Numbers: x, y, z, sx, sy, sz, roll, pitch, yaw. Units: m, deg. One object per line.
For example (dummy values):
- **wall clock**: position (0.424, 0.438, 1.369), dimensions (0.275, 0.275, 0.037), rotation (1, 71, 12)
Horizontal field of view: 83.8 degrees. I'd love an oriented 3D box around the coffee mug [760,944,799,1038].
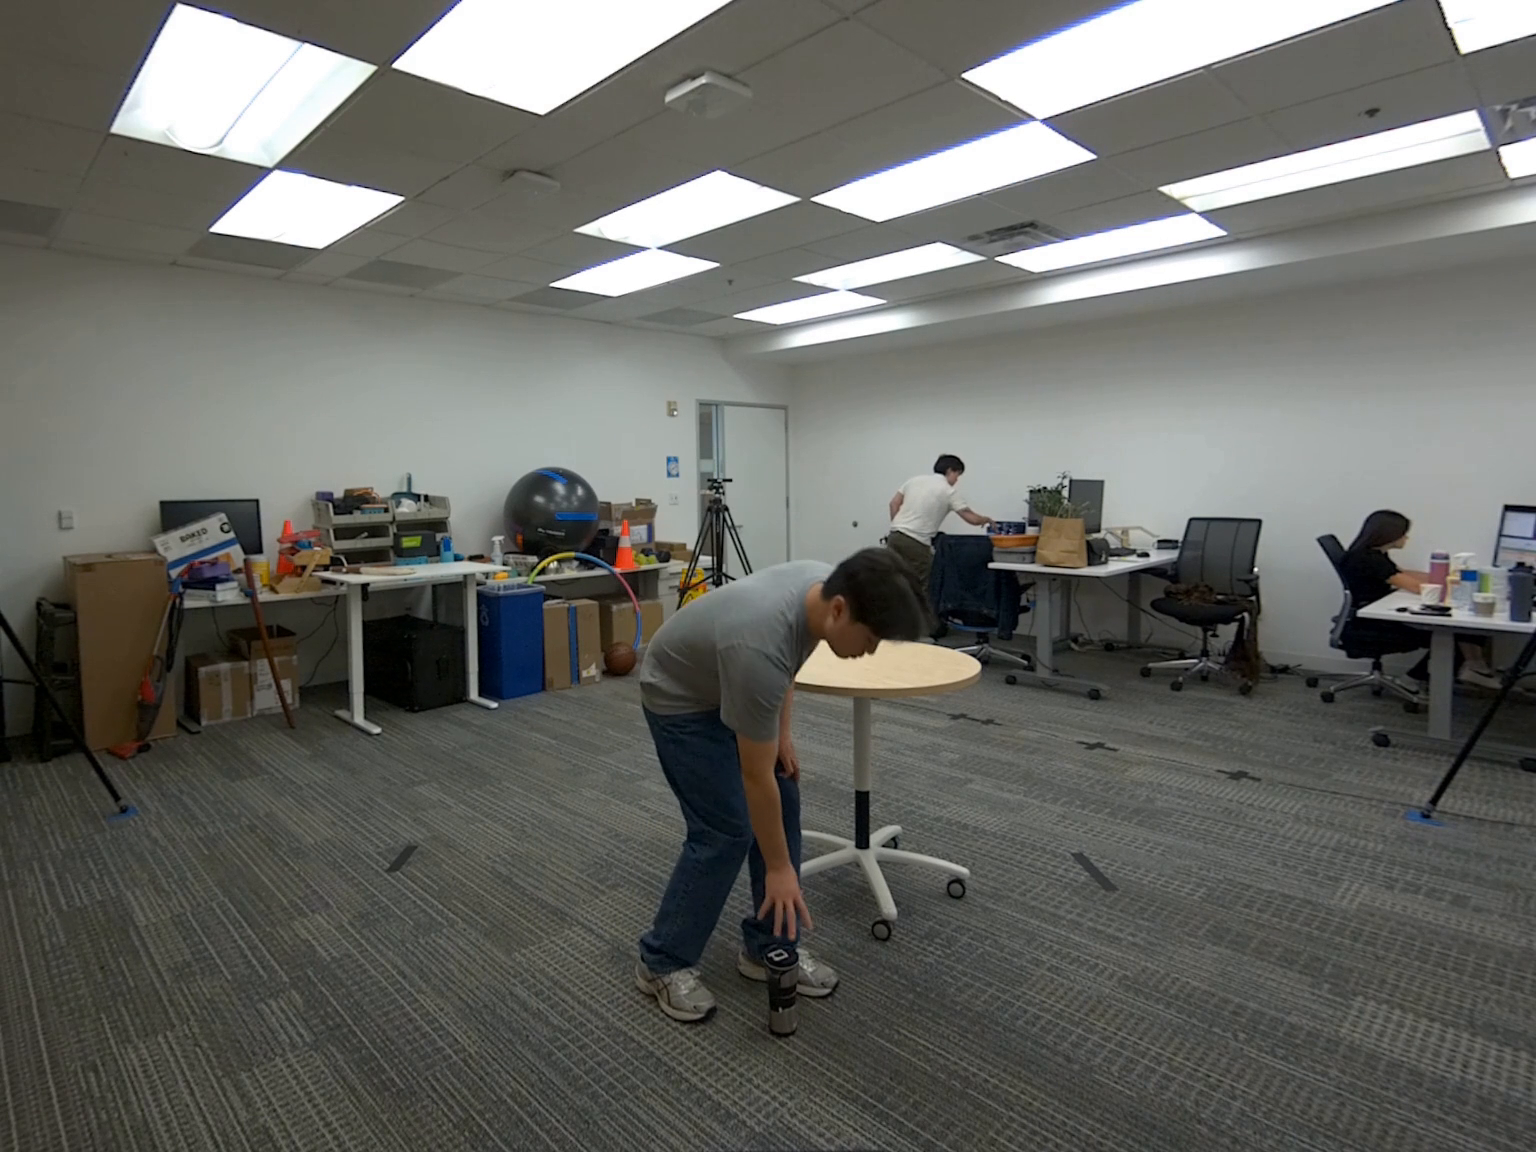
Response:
- **coffee mug**: position (0.025, 1.060, 2.149), dimensions (0.091, 0.202, 0.119), rotation (6, 7, 43)
